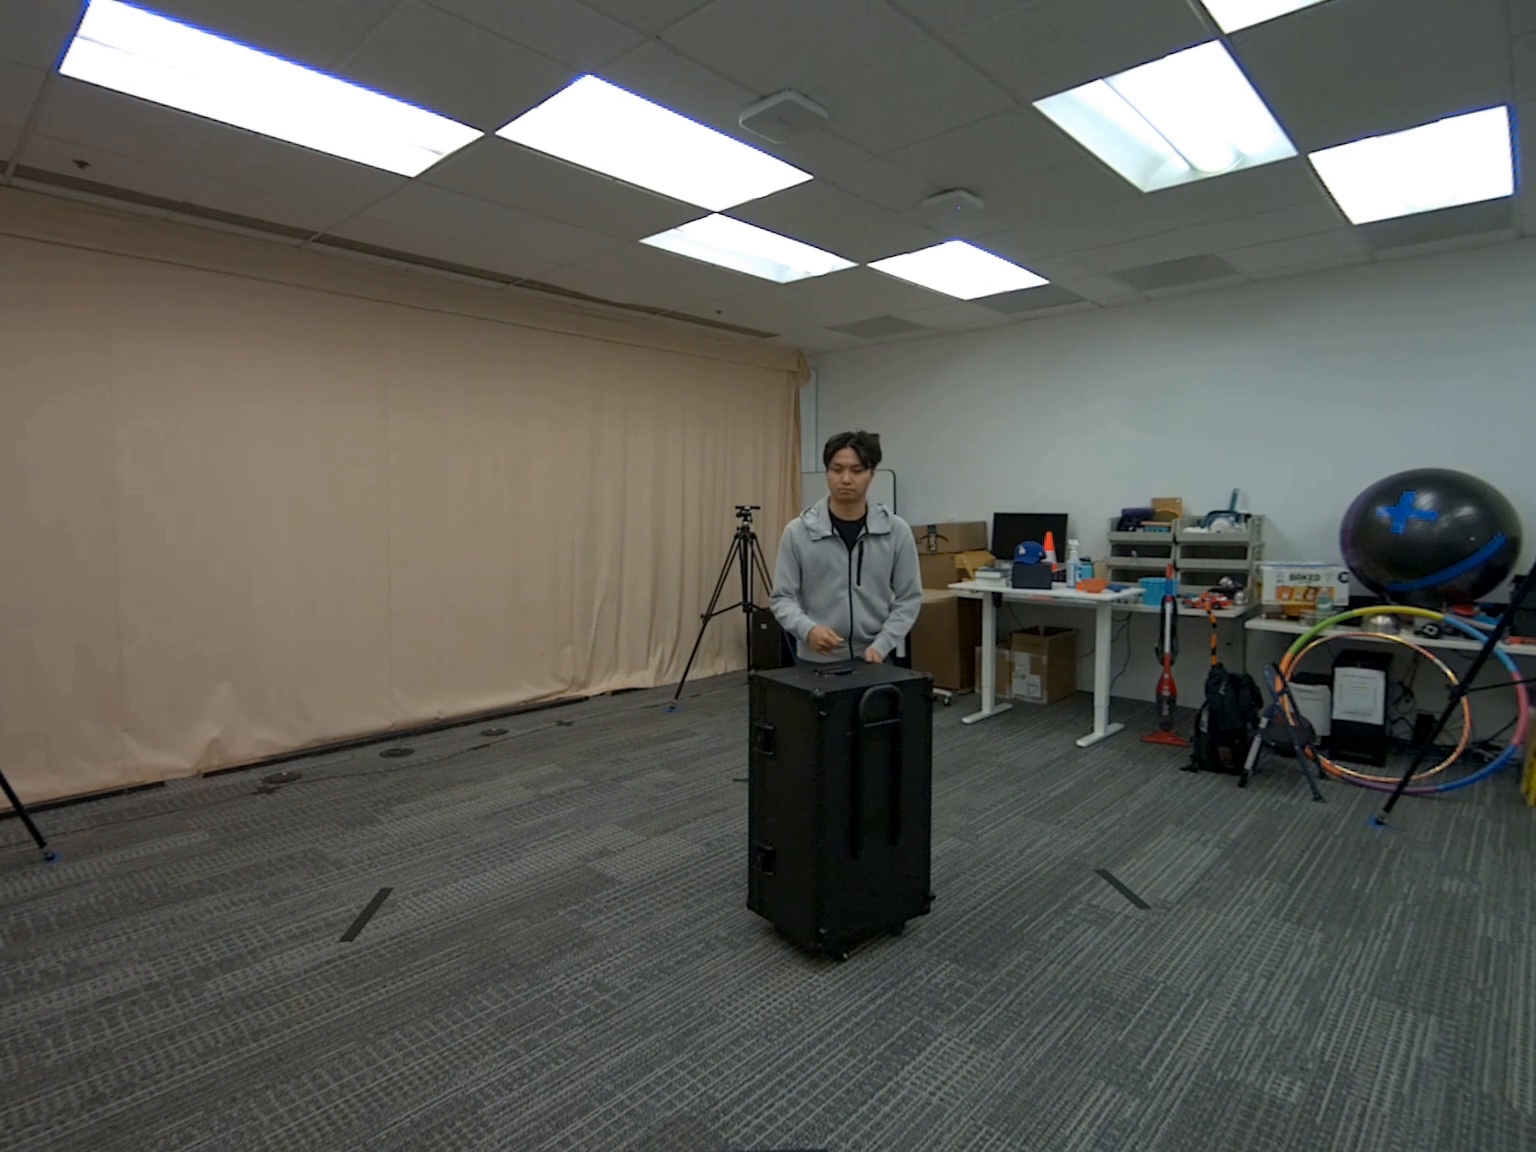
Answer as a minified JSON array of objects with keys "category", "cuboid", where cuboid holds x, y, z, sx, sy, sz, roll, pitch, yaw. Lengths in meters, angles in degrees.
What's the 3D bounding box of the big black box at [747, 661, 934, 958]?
[{"category":"big black box","cuboid":[0.240,0.738,2.727,0.506,0.859,0.409,-2,5,-35]}]
